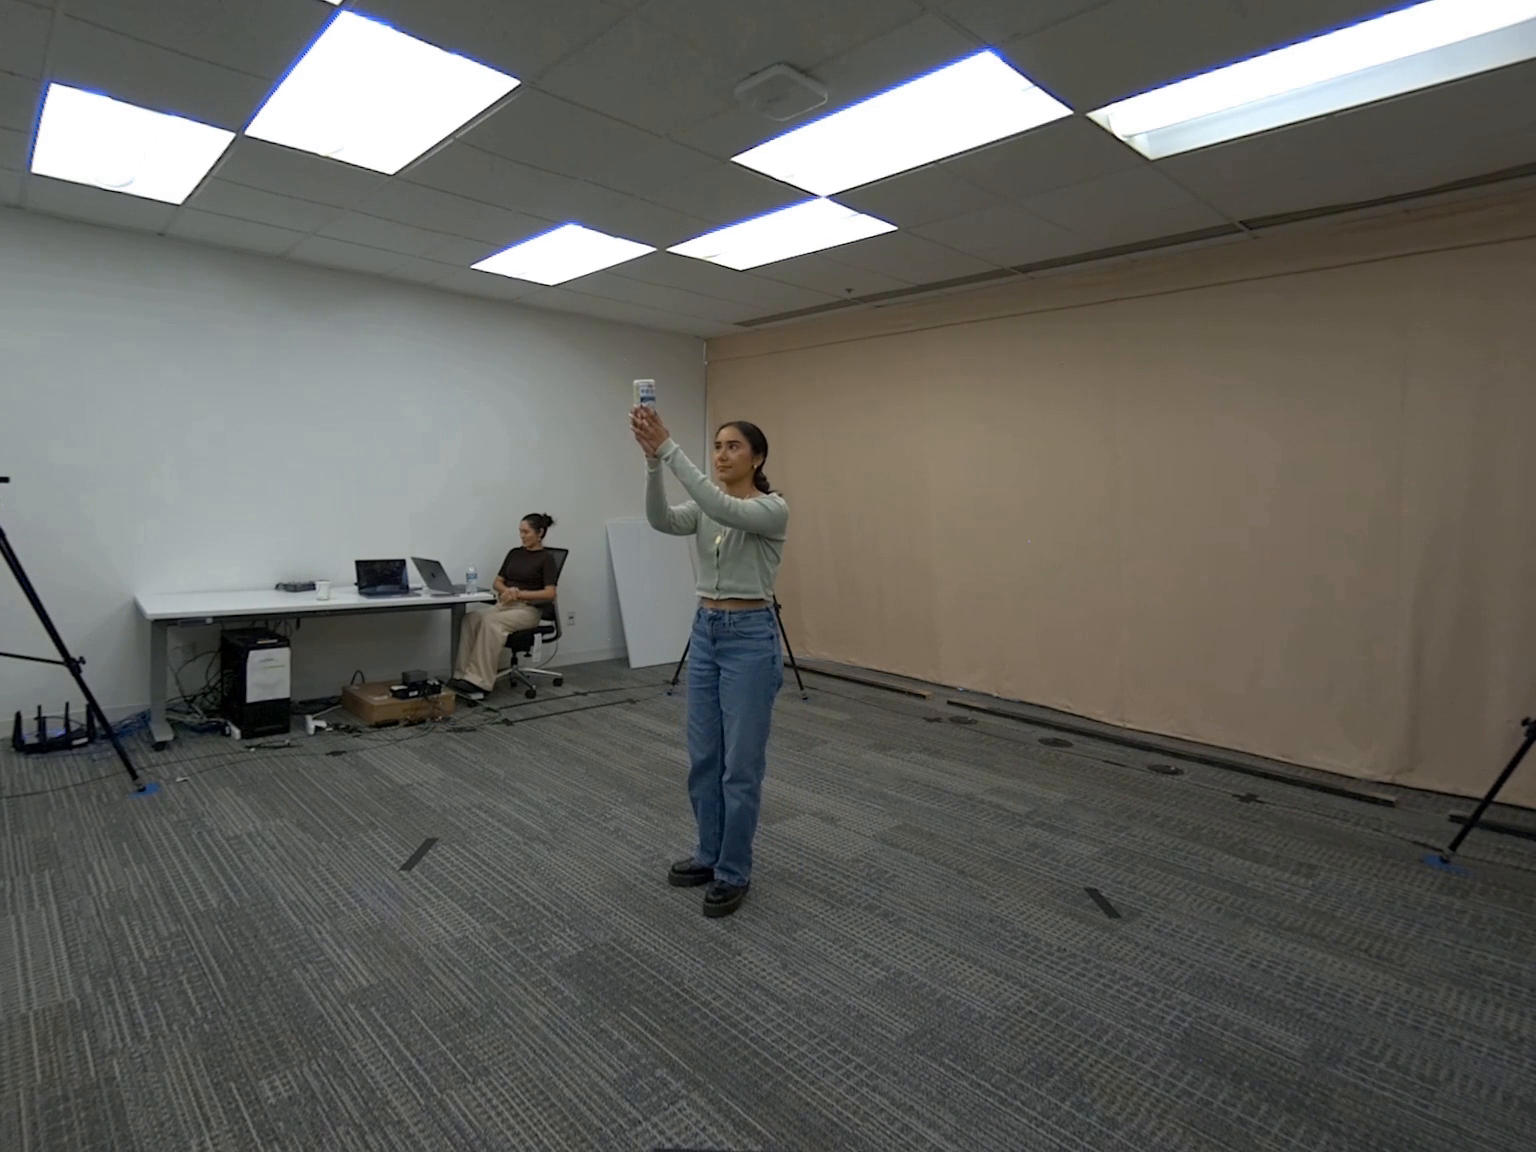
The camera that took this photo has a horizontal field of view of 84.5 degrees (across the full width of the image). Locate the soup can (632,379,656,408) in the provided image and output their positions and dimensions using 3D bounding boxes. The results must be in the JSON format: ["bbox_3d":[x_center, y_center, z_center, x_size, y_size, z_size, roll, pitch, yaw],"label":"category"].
[{"bbox_3d":[-0.381,-0.549,2.618,0.067,0.121,0.067,-1,5,-1],"label":"soup can"}]
